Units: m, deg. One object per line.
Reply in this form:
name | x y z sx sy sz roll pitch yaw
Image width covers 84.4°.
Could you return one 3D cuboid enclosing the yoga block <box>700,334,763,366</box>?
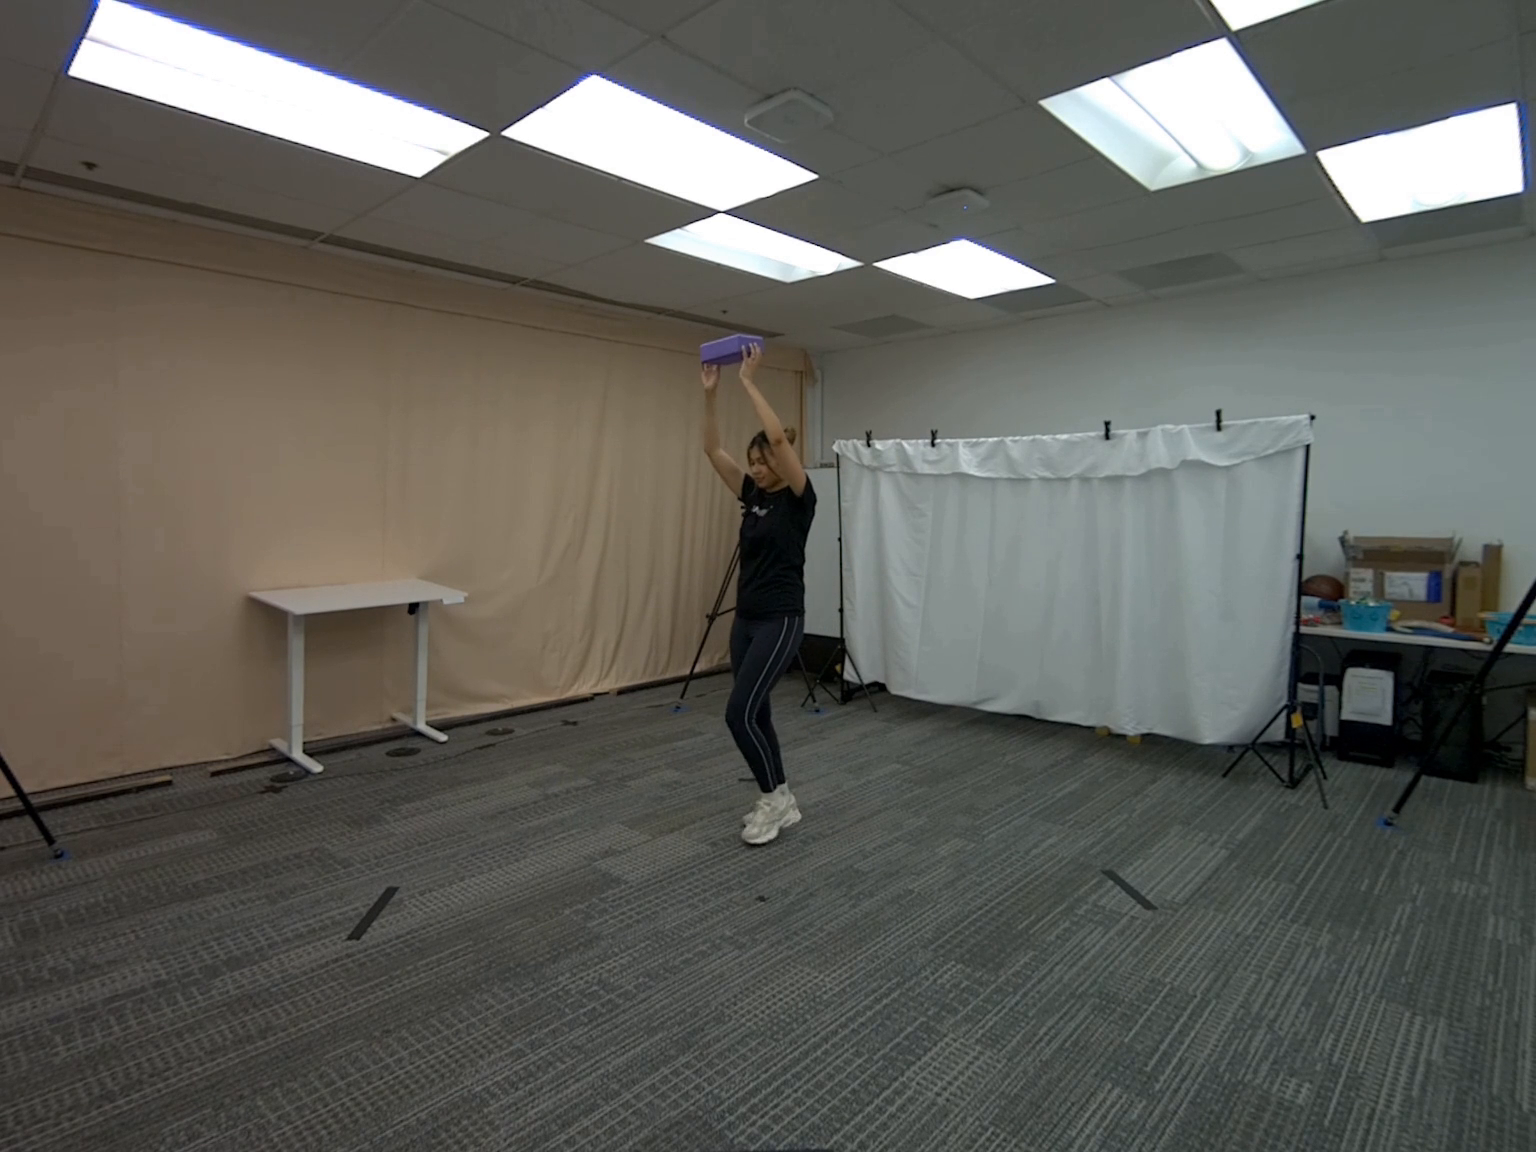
yoga block | -0.149 -0.918 3.419 0.237 0.076 0.145 0 8 45
